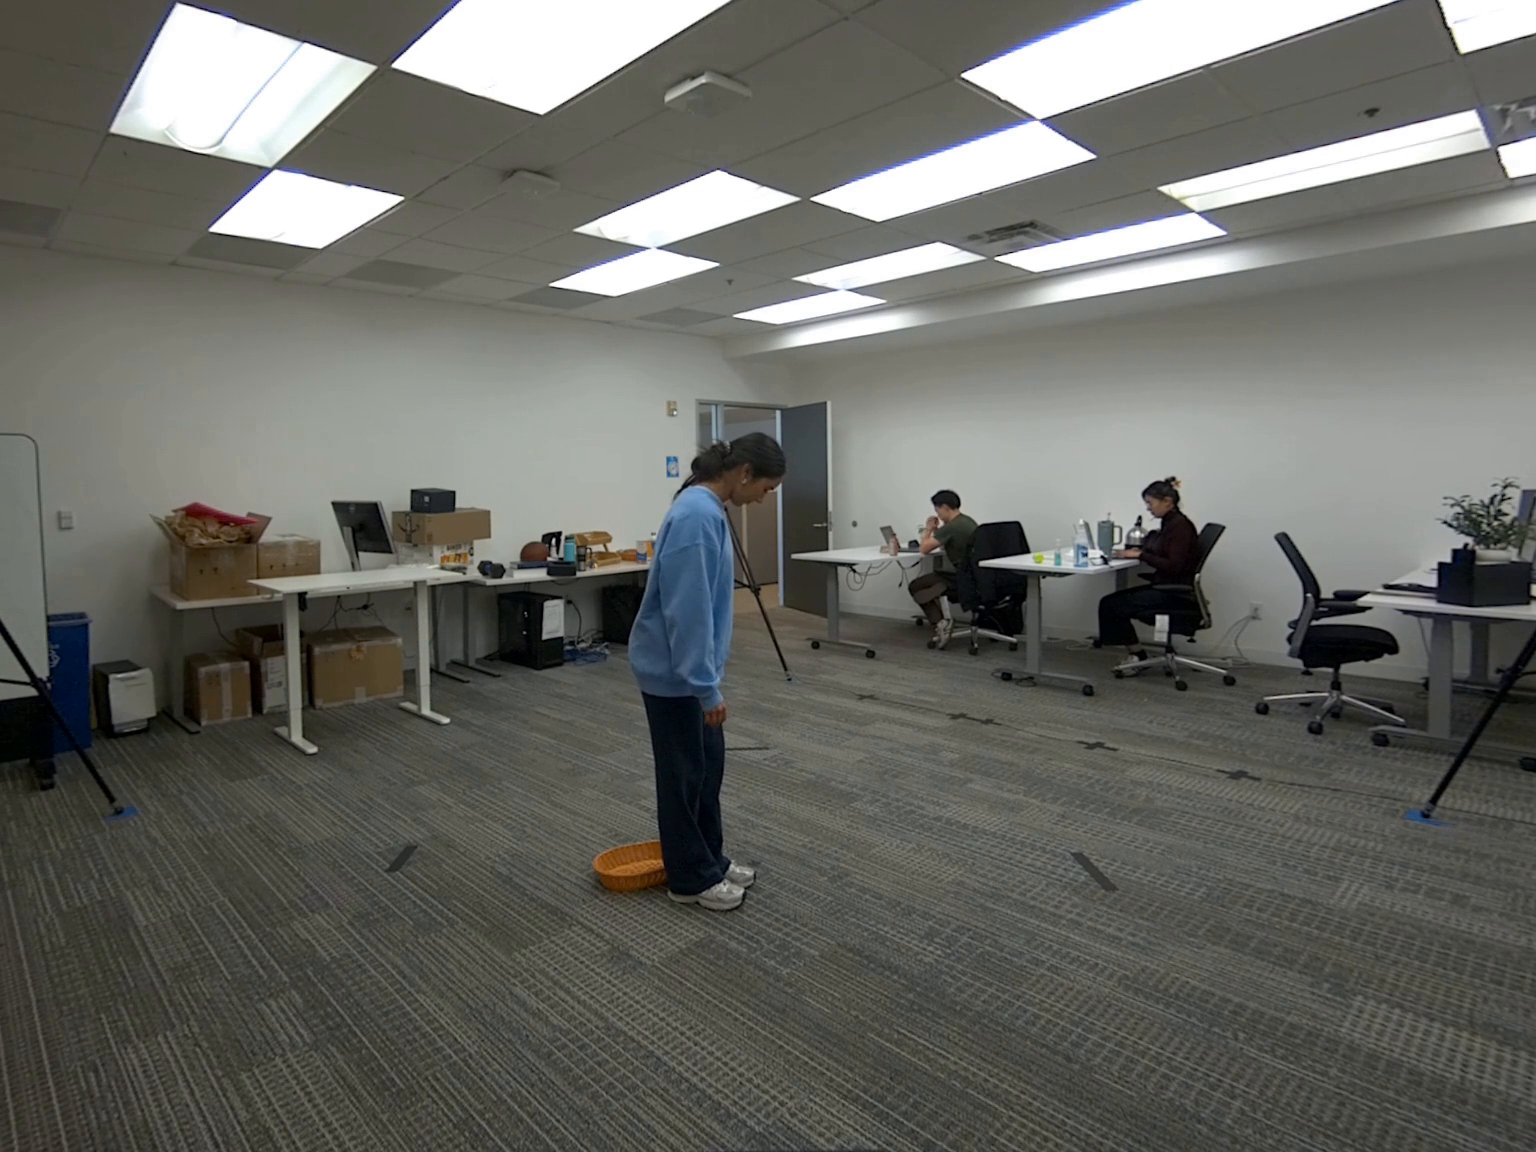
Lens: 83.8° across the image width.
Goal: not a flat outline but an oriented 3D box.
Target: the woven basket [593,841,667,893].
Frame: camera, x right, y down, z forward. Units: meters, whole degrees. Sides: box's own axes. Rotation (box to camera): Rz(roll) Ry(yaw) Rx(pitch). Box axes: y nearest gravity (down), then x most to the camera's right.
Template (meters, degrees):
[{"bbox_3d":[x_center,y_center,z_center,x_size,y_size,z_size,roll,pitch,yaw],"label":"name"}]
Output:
[{"bbox_3d":[-0.442,1.023,3.011,0.343,0.073,0.258,-4,6,-24],"label":"woven basket"}]
